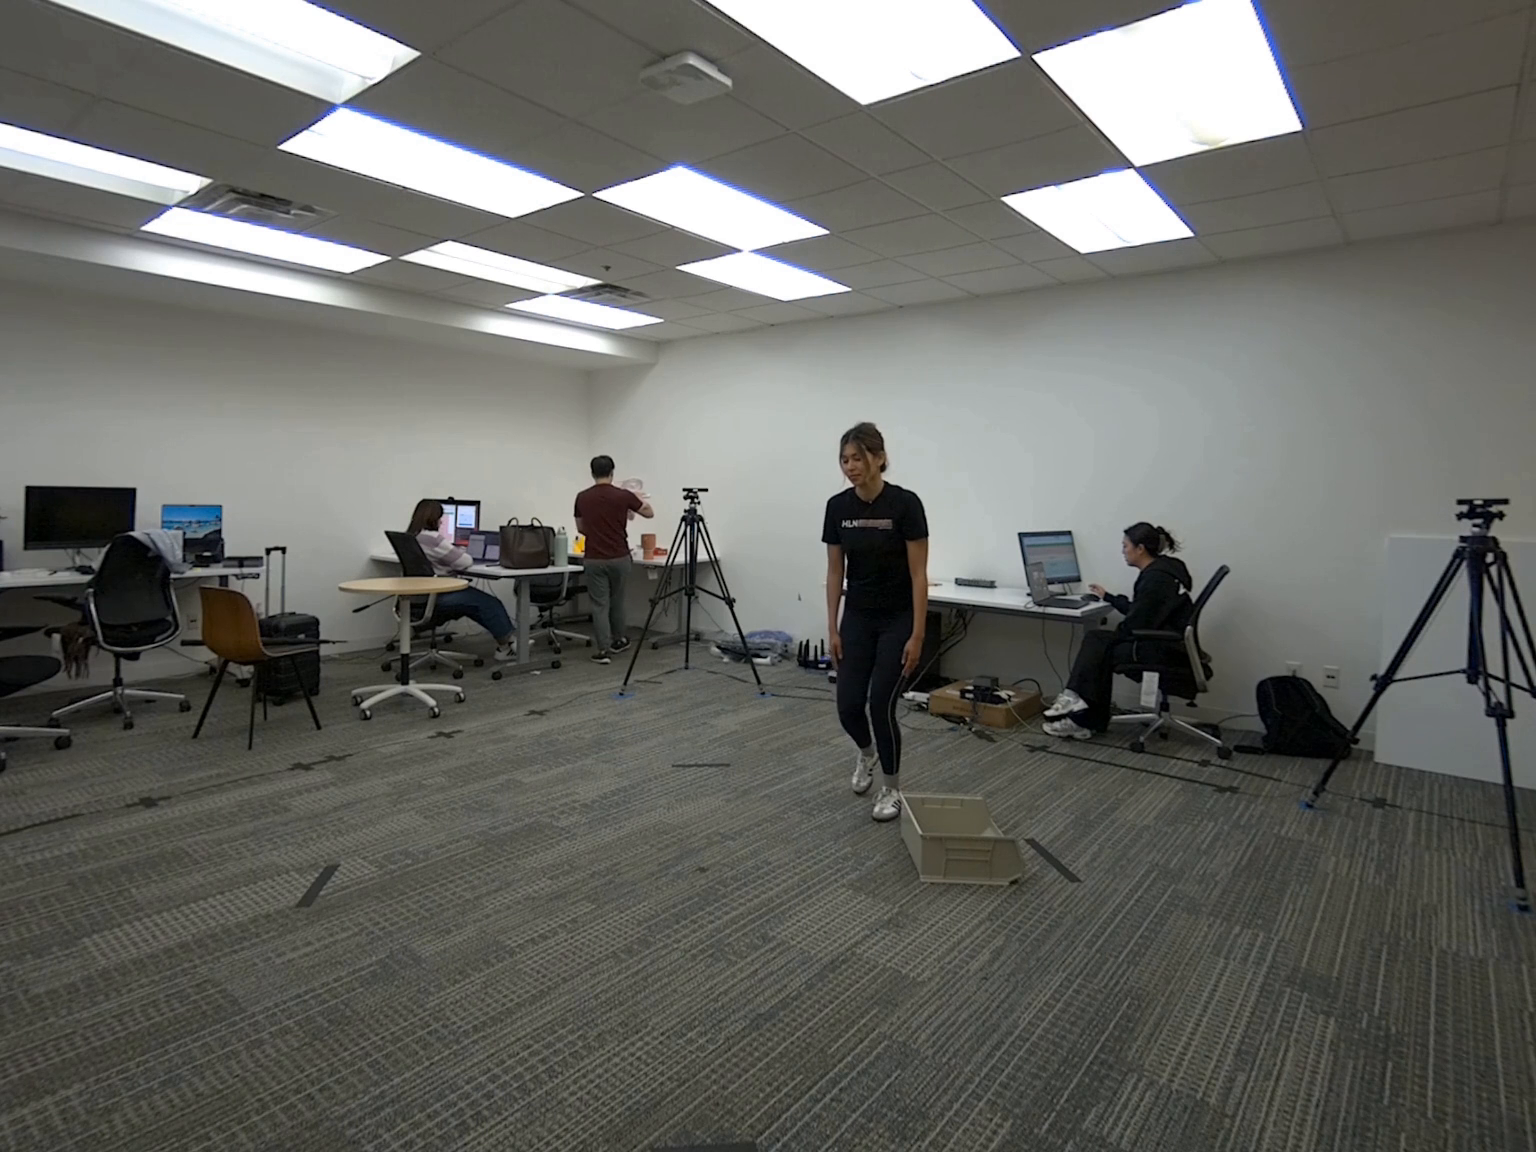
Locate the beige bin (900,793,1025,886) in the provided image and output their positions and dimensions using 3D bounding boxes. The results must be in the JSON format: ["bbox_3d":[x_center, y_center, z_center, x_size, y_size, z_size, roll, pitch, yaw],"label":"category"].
[{"bbox_3d":[0.729,0.993,3.245,0.378,0.188,0.424,0,5,0],"label":"beige bin"}]
